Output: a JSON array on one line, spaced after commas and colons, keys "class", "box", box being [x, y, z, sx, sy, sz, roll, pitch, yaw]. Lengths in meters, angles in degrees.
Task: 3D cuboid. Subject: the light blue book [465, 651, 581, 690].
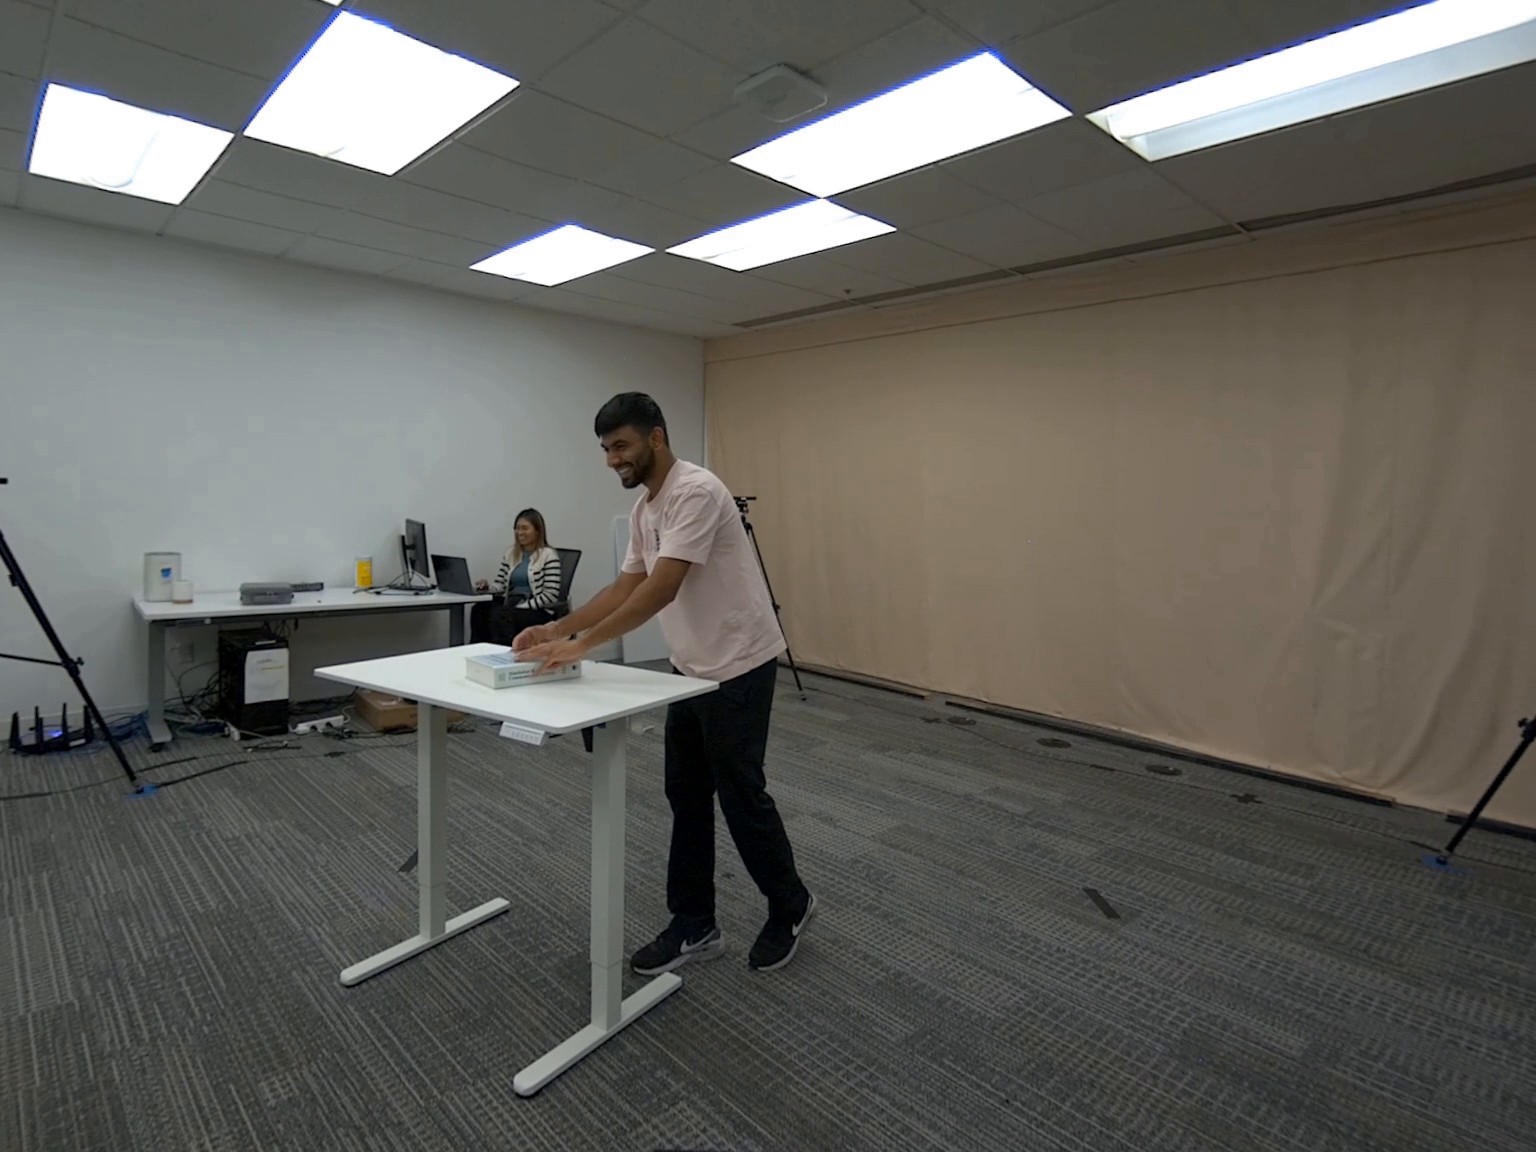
[{"class": "light blue book", "box": [-0.682, 0.254, 2.326, 0.255, 0.059, 0.196, -3, 6, -42]}]
